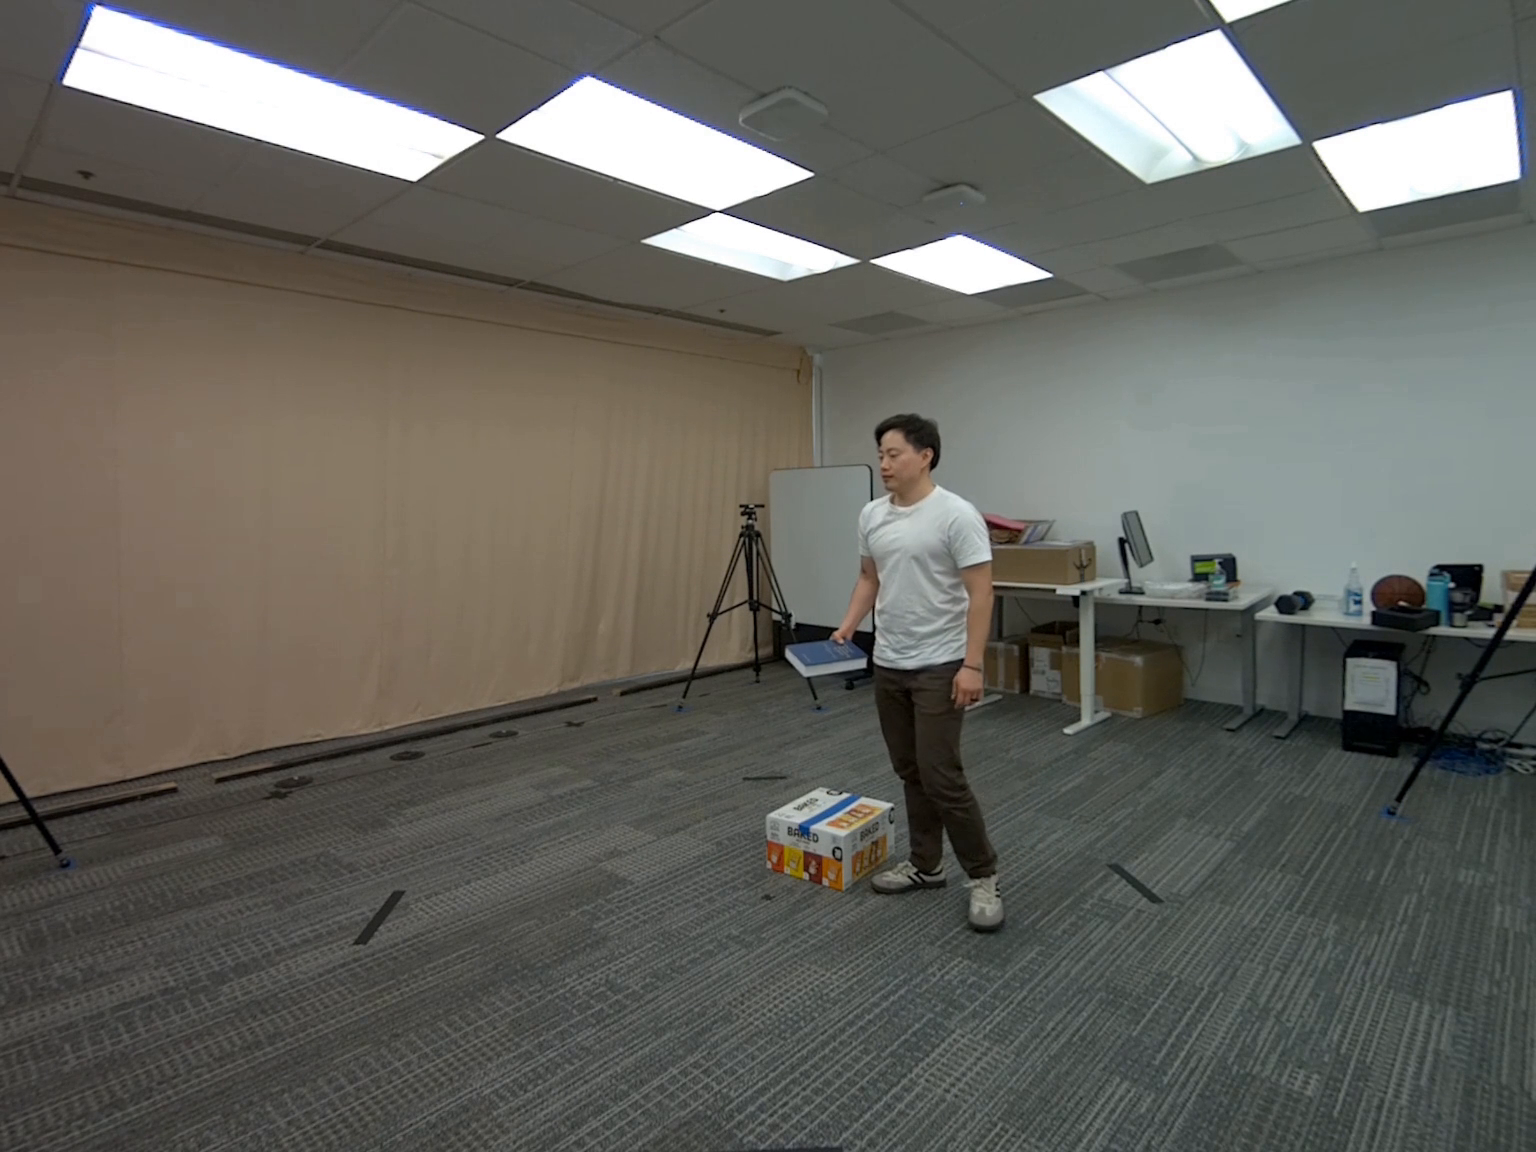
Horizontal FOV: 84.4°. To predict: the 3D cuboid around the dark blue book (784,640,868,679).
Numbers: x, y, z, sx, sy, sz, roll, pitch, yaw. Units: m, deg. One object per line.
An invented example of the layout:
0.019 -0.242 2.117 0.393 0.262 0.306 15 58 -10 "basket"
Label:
0.209 0.288 2.896 0.240 0.045 0.168 -5 20 -21 "dark blue book"
